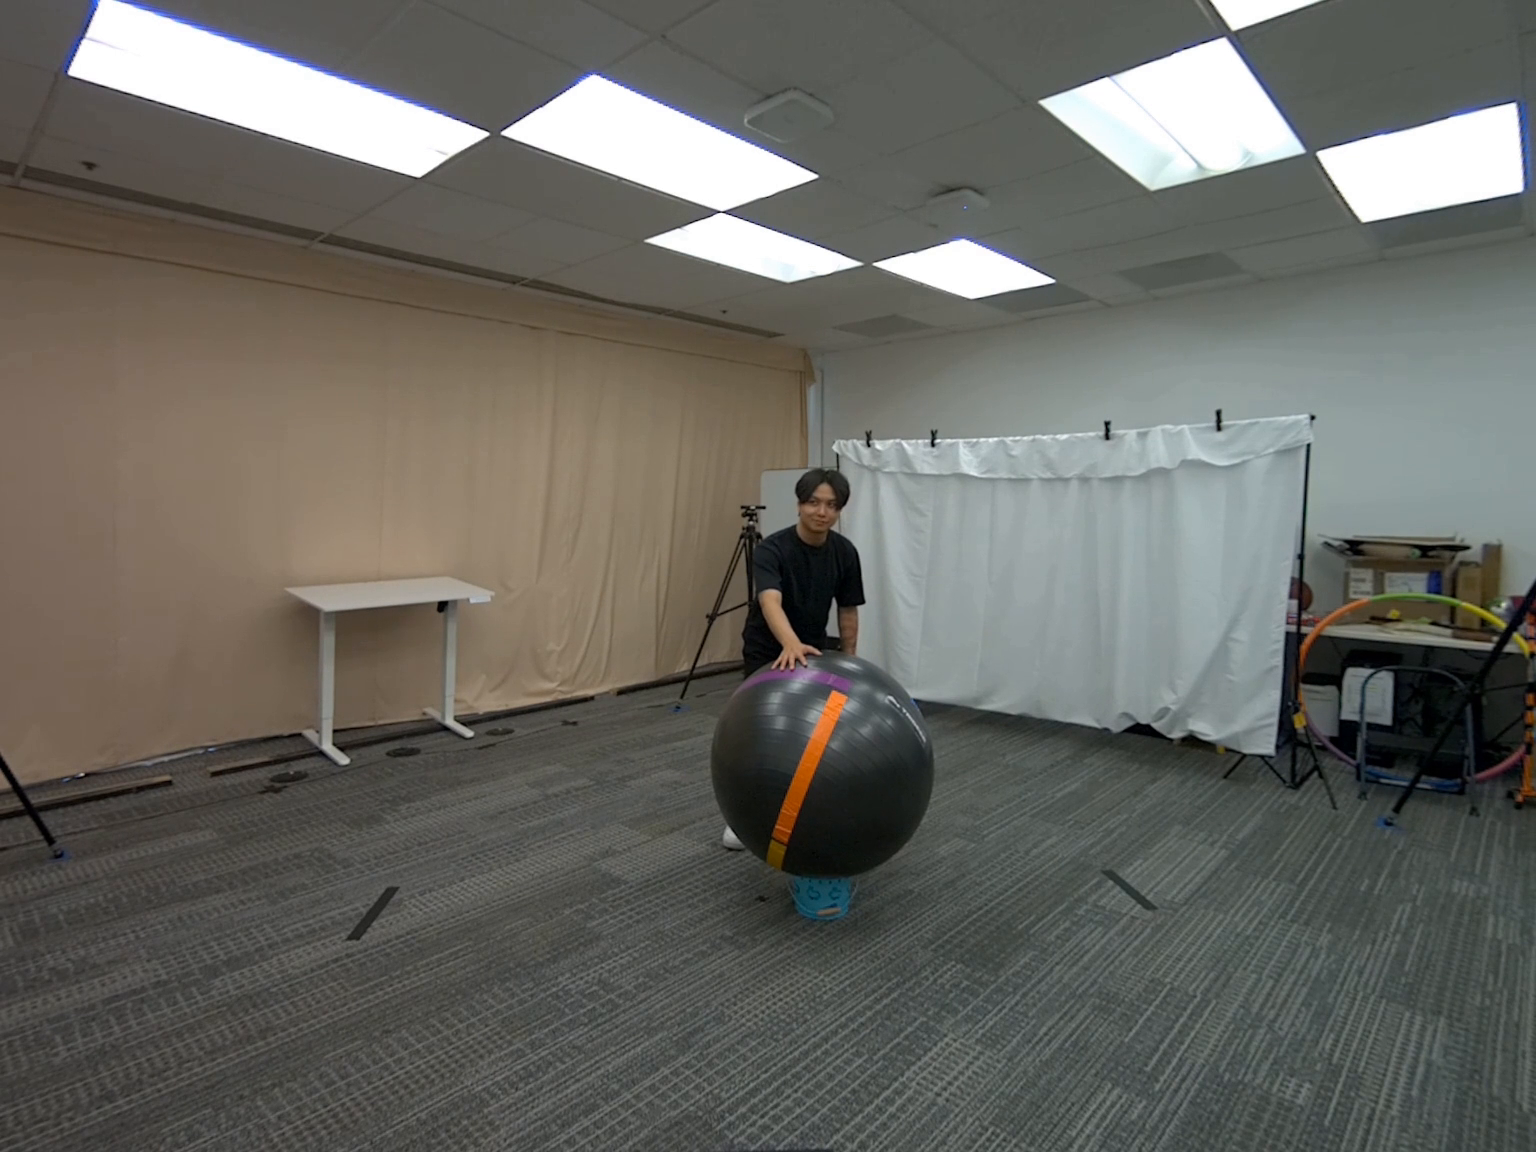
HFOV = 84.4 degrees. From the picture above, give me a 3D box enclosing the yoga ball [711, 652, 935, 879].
[{"bbox_3d":[0.183,0.643,2.888,0.757,0.756,0.760,0,4,-2],"label":"yoga ball"}]
